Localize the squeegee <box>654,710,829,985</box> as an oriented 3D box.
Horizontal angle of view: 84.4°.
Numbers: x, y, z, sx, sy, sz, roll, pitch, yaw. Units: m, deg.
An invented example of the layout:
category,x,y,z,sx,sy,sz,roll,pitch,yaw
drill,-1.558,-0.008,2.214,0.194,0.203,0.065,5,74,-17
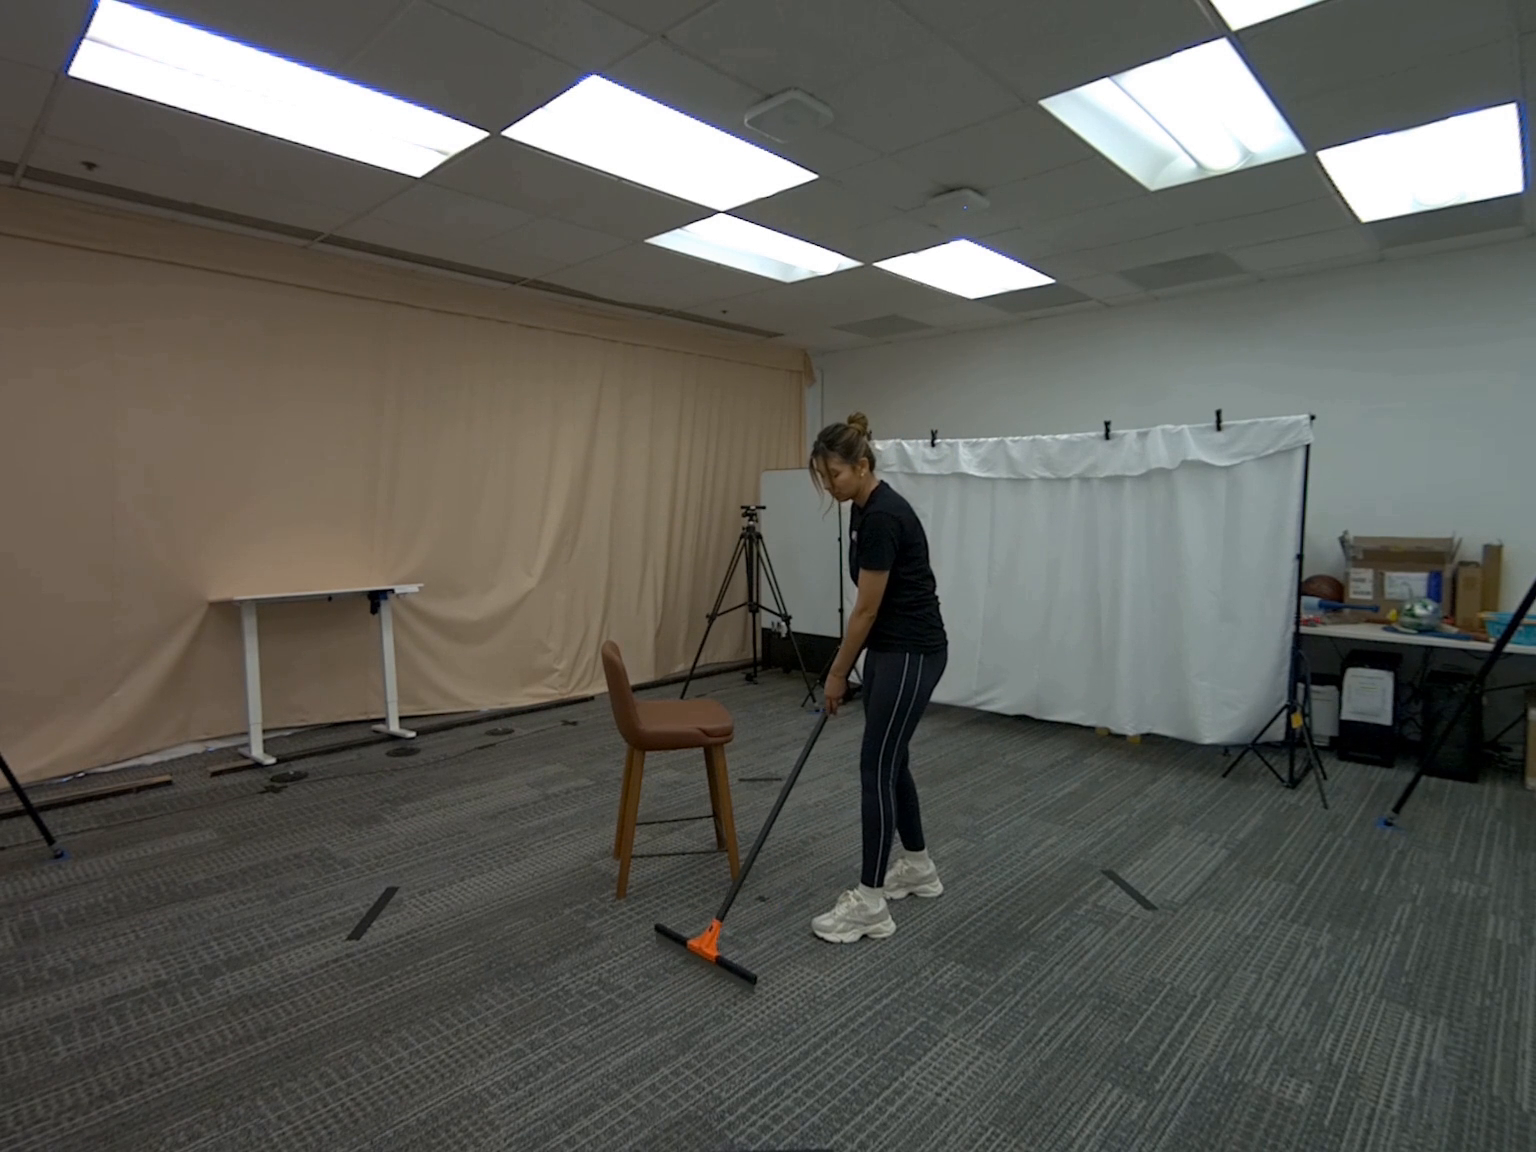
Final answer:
category,x,y,z,sx,sy,sz,roll,pitch,yaw
squeegee,0.156,0.531,2.856,0.451,1.537,0.051,0,-40,44
